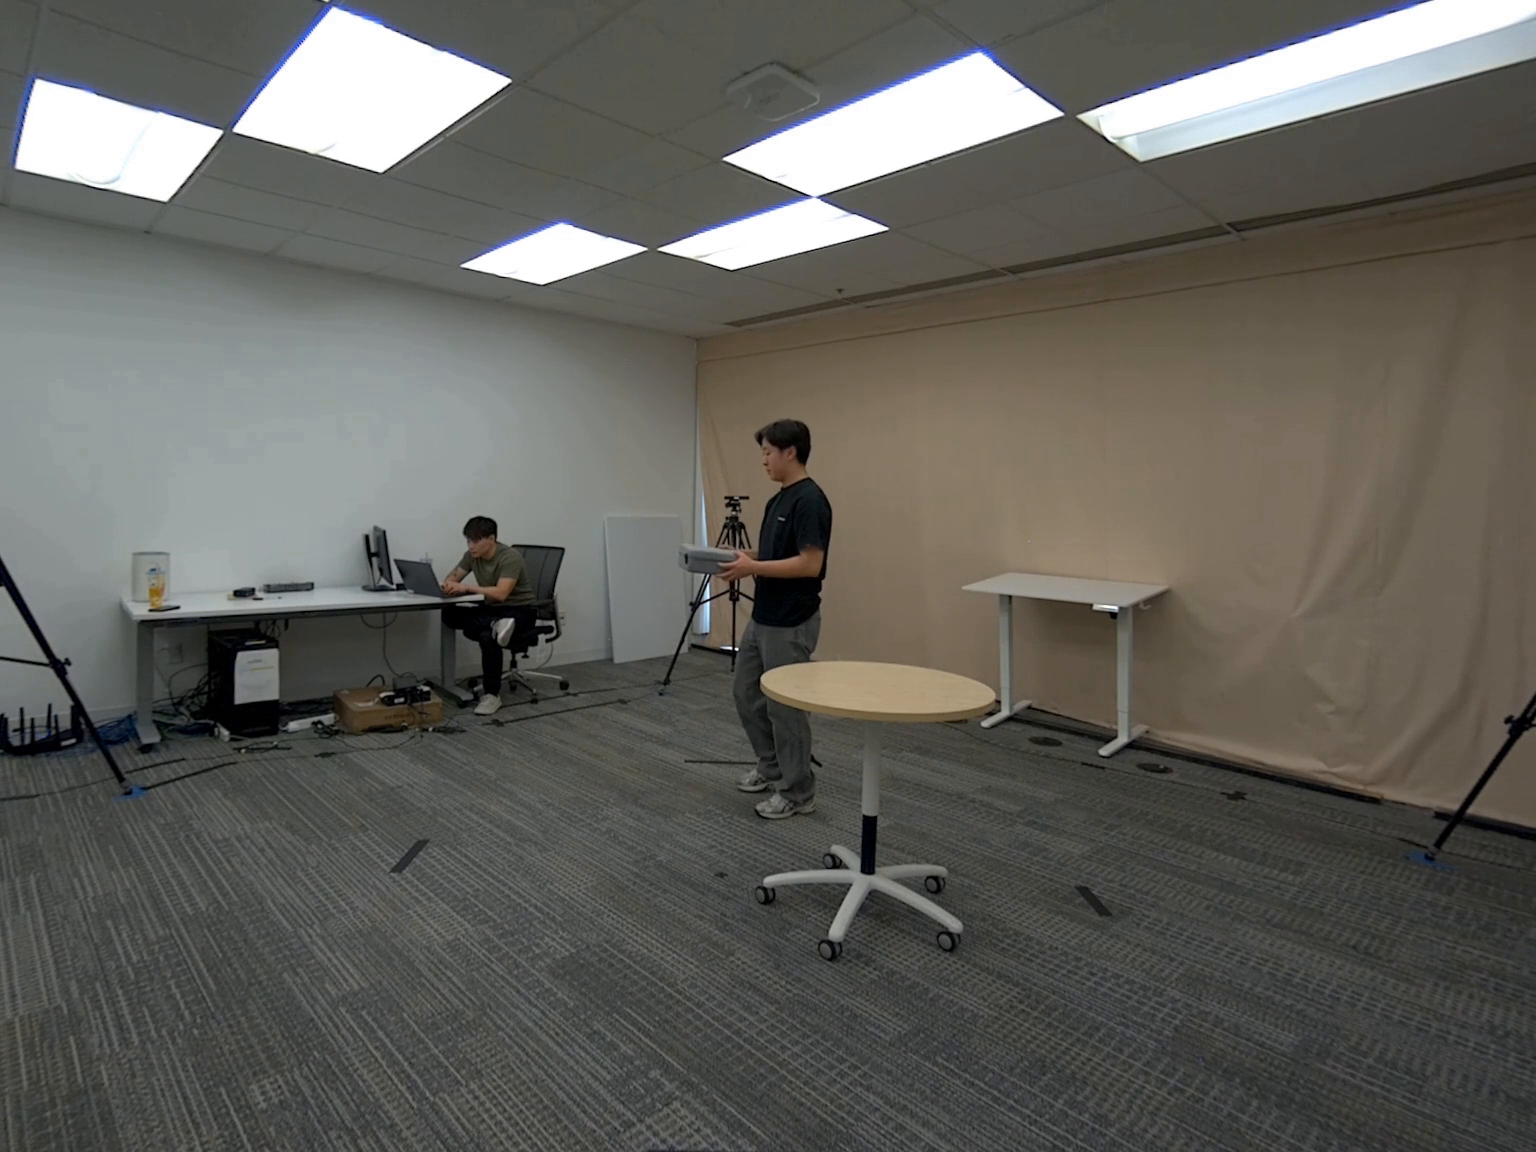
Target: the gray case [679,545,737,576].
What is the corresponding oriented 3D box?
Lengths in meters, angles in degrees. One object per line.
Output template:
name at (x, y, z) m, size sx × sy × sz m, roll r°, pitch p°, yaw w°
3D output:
gray case at (-0.229, -0.058, 3.675) m, size 0.289 × 0.103 × 0.262 m, roll 7°, pitch 6°, yaw 6°
